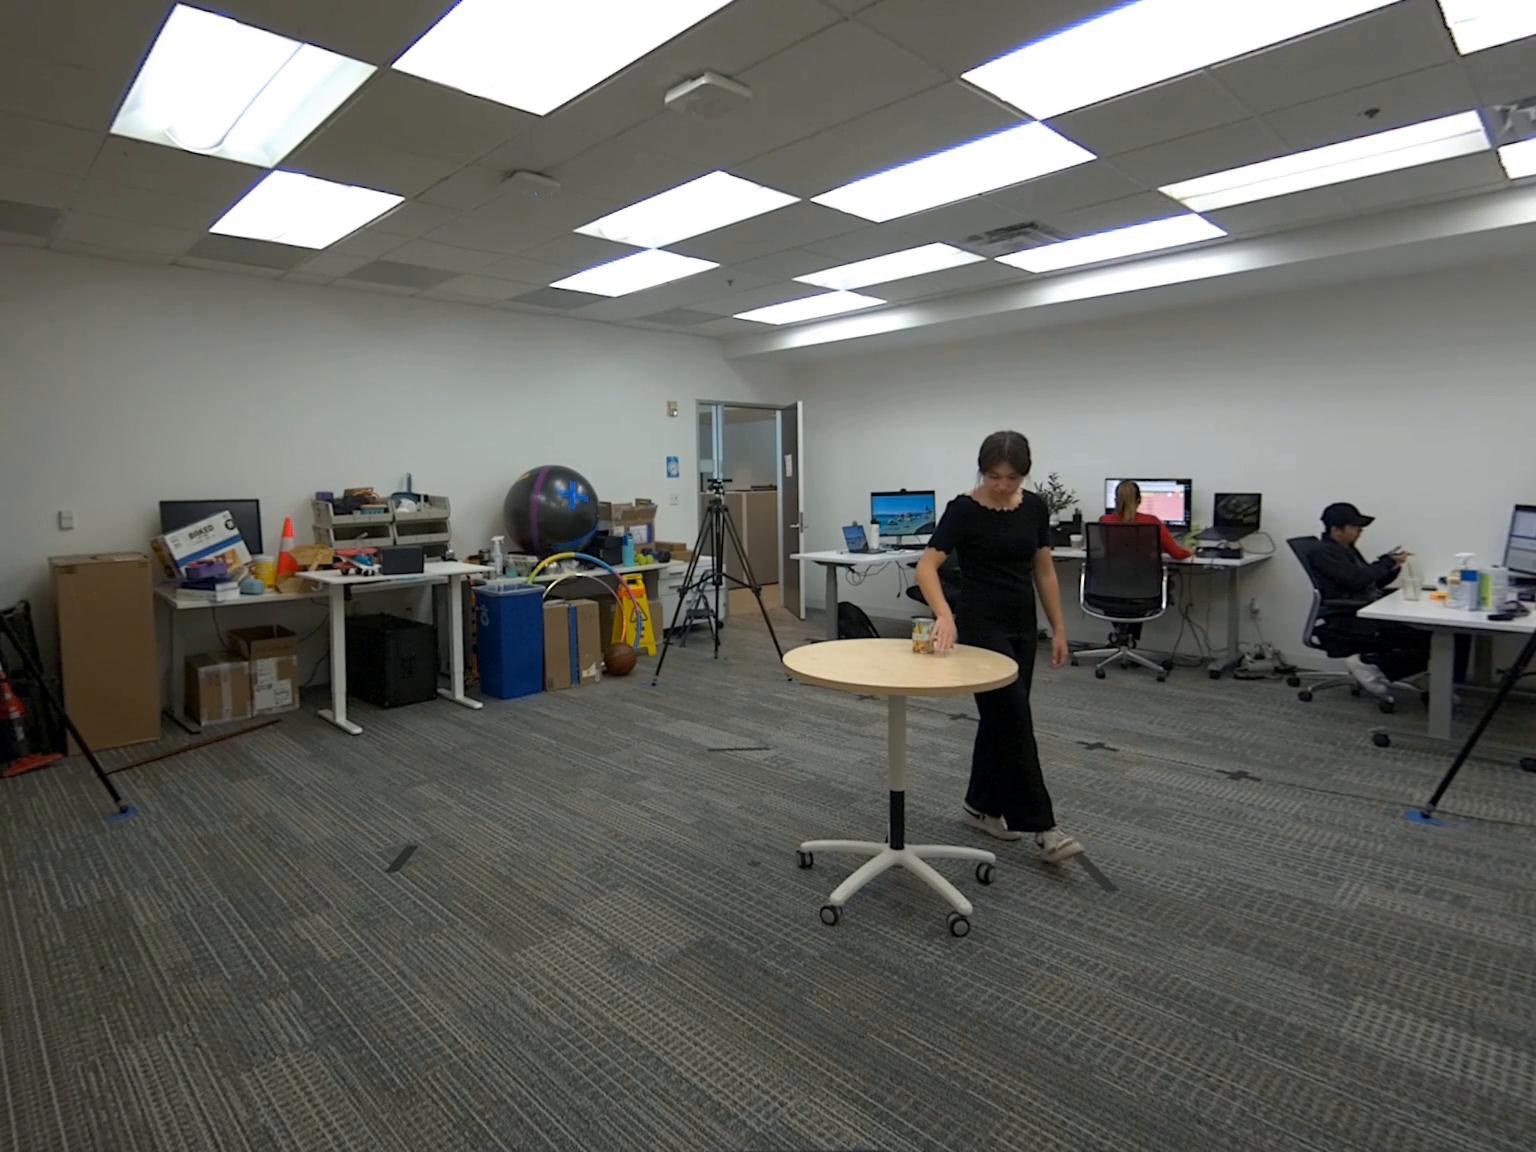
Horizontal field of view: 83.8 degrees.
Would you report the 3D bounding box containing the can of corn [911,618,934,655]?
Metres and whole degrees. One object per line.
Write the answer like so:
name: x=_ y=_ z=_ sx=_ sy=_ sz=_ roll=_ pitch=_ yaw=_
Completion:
can of corn: x=0.546 y=0.212 z=2.986 sx=0.074 sy=0.110 sz=0.075 roll=3 pitch=8 yaw=-2
